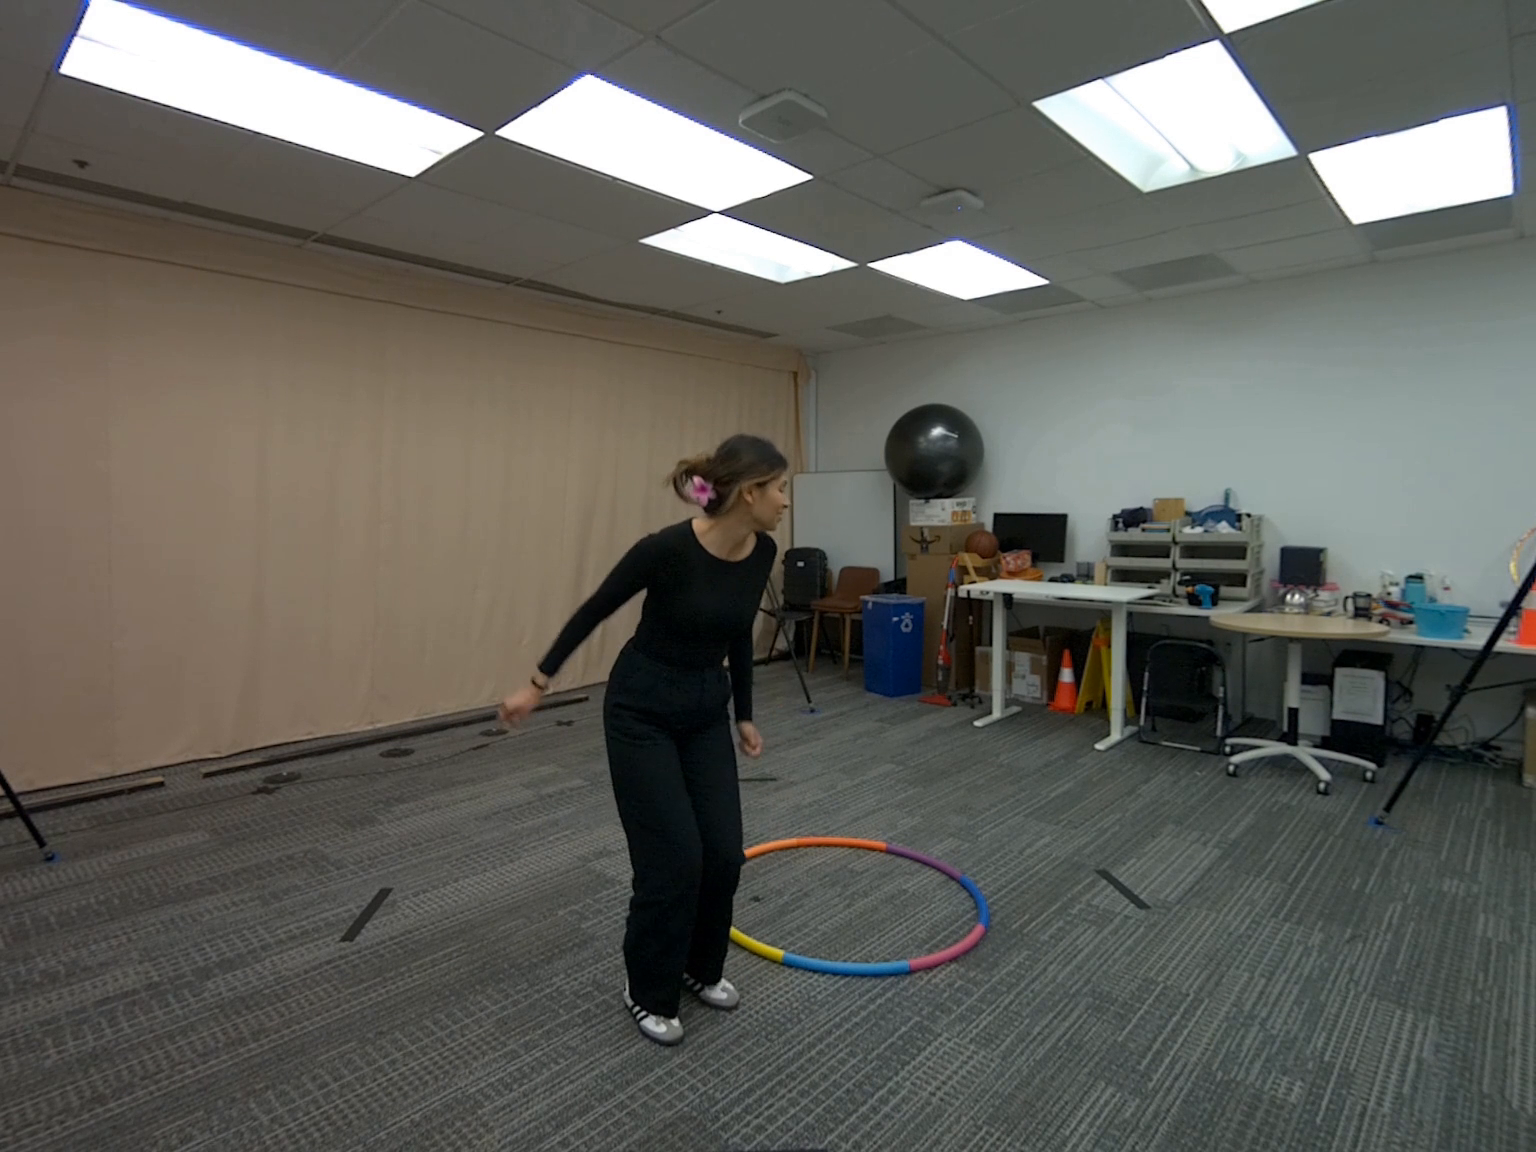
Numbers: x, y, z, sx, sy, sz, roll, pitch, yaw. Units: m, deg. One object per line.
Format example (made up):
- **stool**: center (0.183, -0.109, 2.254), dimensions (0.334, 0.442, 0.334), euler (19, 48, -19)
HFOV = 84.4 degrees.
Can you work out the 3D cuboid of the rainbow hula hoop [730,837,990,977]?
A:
- **rainbow hula hoop**: center (0.264, 1.116, 2.969), dimensions (0.978, 0.035, 0.982), euler (0, 5, -2)
